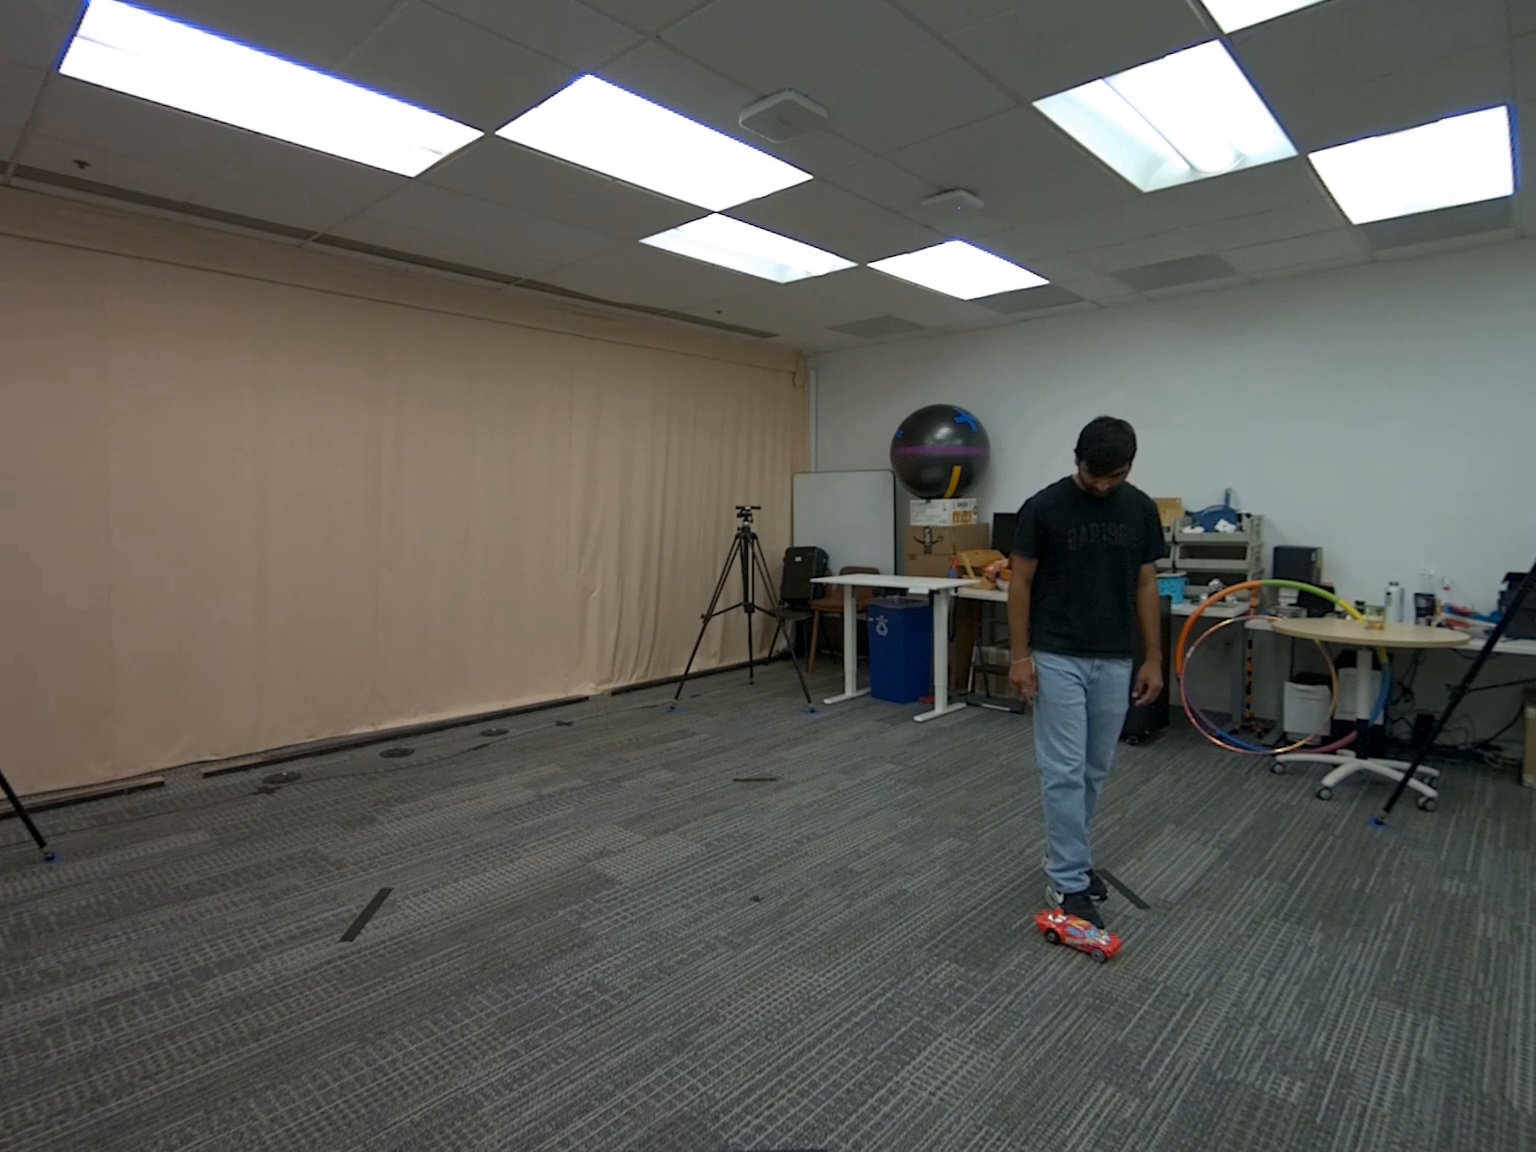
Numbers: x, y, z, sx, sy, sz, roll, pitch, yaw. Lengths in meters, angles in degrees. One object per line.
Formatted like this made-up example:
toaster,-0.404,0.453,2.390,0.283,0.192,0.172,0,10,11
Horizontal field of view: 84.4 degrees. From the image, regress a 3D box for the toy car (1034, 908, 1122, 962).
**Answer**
toy car,0.987,1.140,2.667,0.126,0.083,0.264,-5,17,-43
